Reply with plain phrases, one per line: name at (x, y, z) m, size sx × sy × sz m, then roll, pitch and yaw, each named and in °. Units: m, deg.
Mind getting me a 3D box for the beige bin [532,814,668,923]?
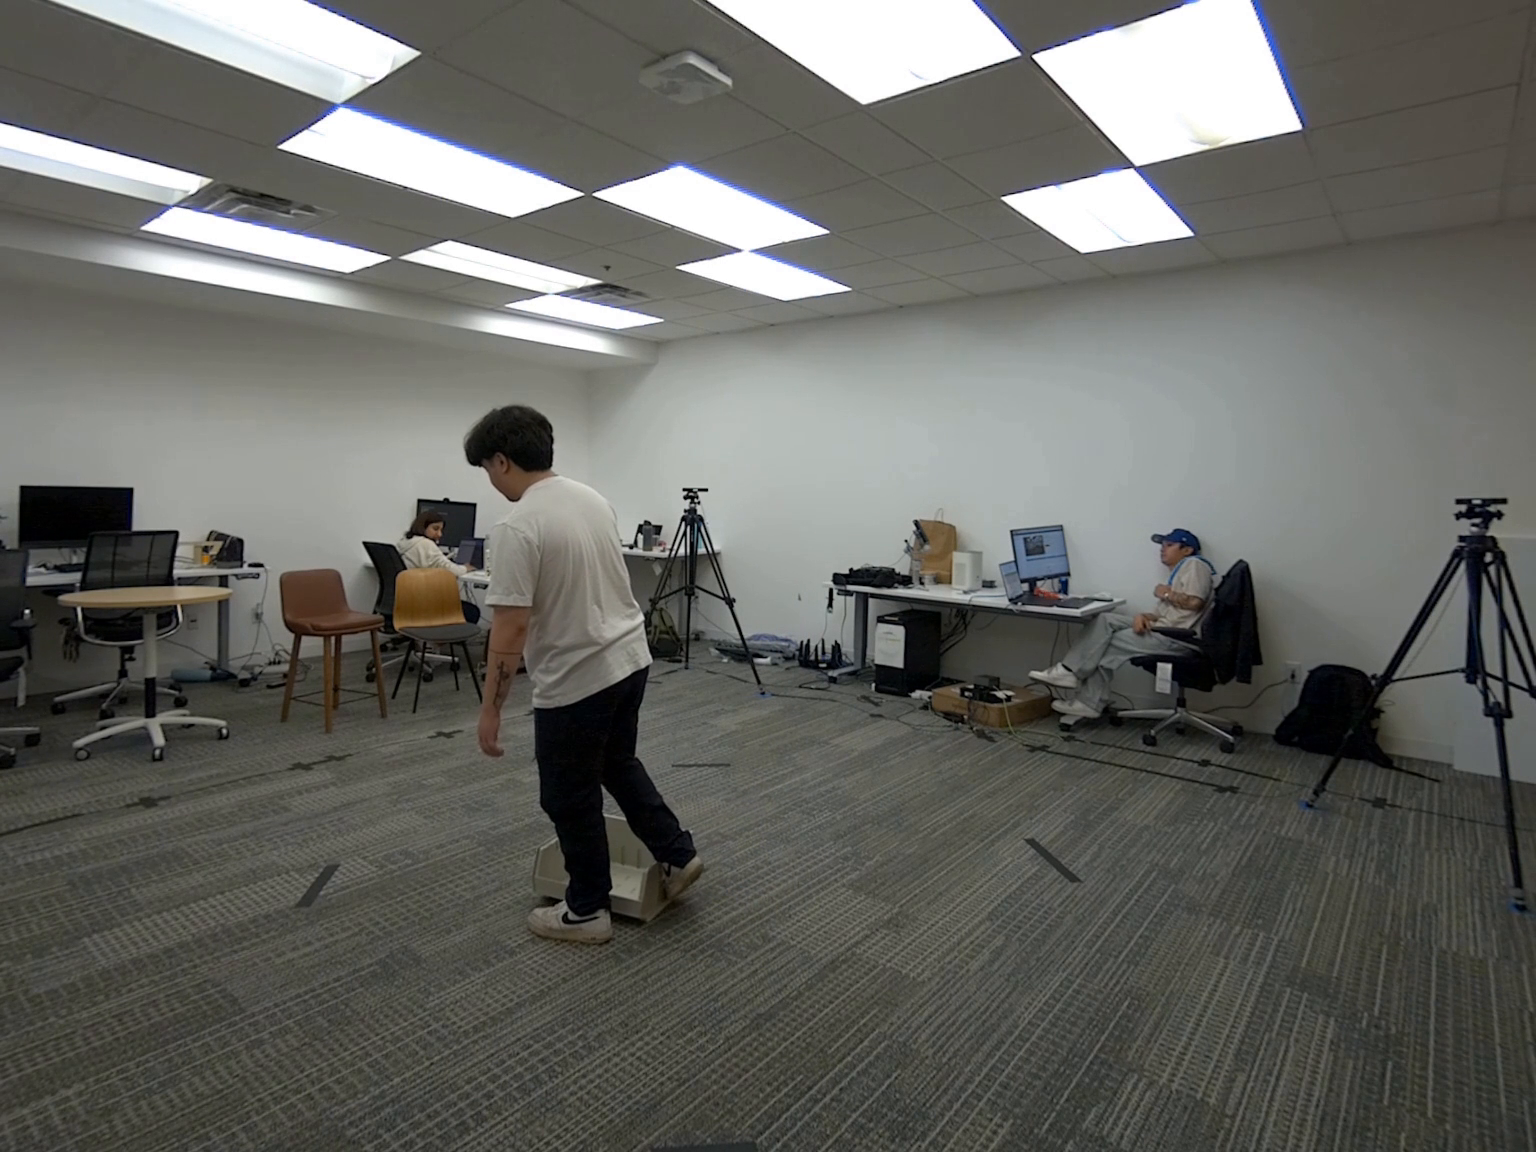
beige bin at (-0.534, 0.991, 2.911) m, size 0.432 × 0.189 × 0.369 m, roll 3°, pitch 3°, yaw 22°
